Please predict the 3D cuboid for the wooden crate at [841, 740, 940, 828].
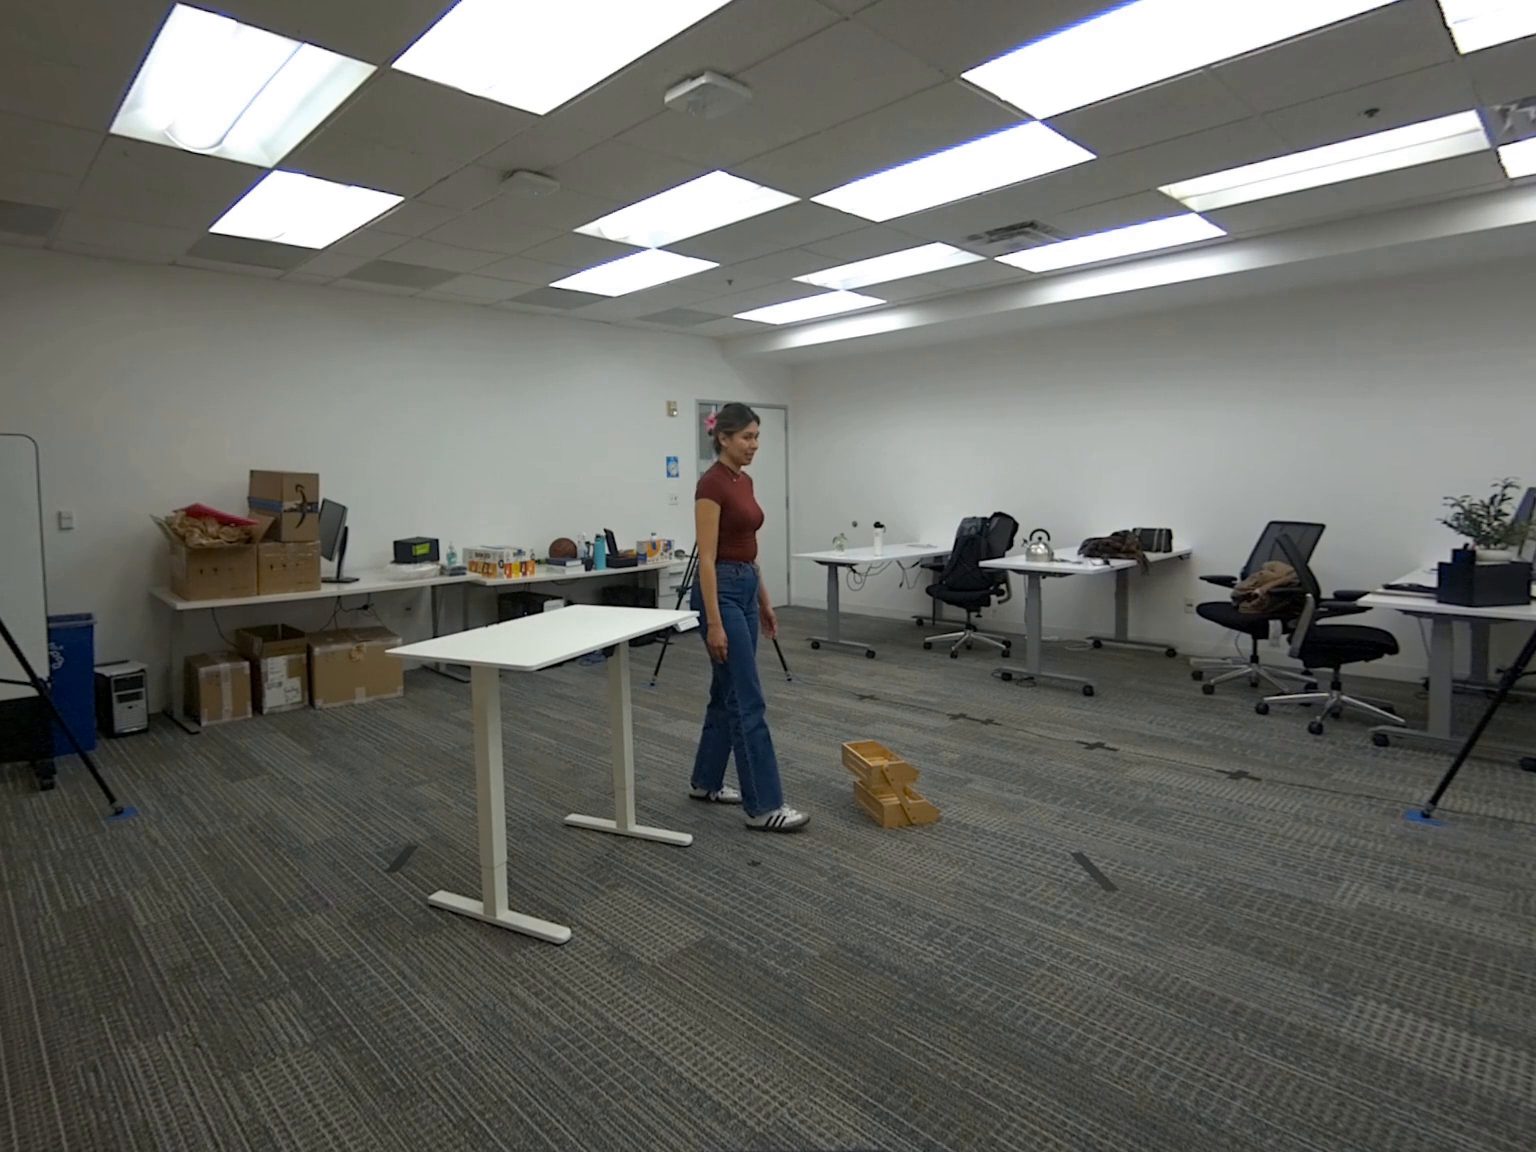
[{"bbox_3d":[0.507,0.848,3.561,0.298,0.272,0.330,-4,6,-16],"label":"wooden crate"}]
